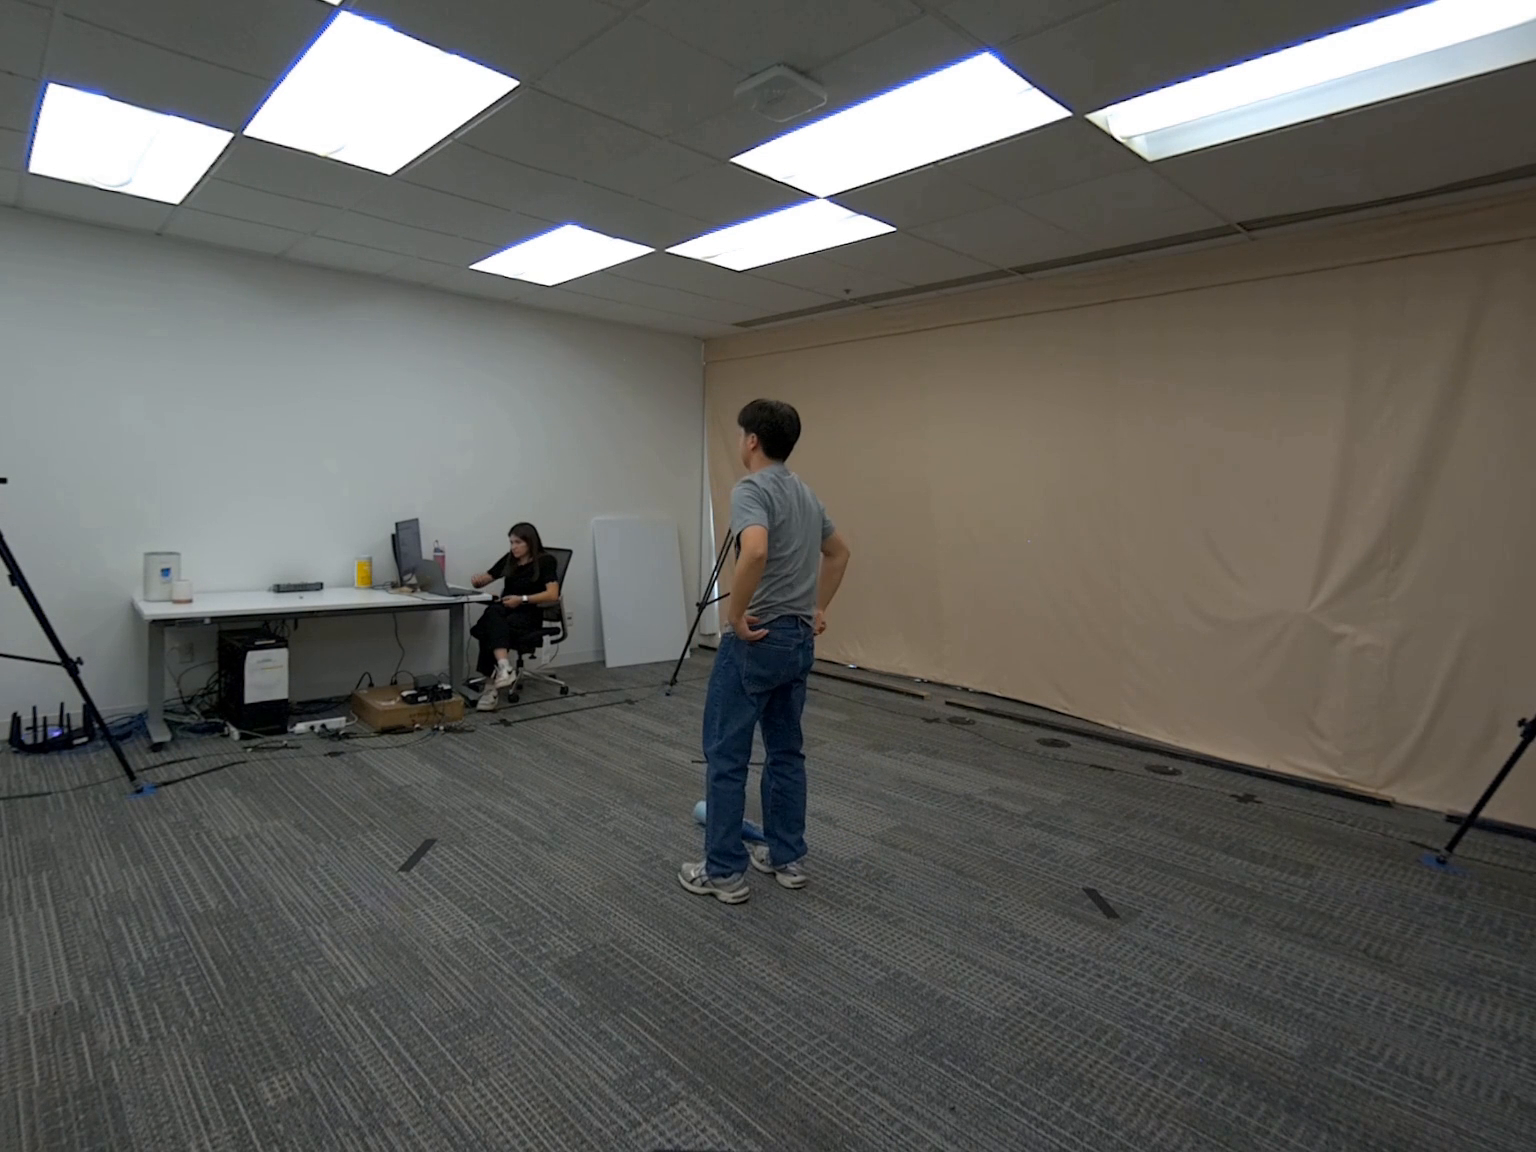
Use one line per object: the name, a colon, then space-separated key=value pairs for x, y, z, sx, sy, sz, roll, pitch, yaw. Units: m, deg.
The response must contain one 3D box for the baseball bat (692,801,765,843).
baseball bat: x=-0.095 y=1.040 z=3.435 sx=0.557 sy=0.089 sz=0.087 roll=9 pitch=8 yaw=42
